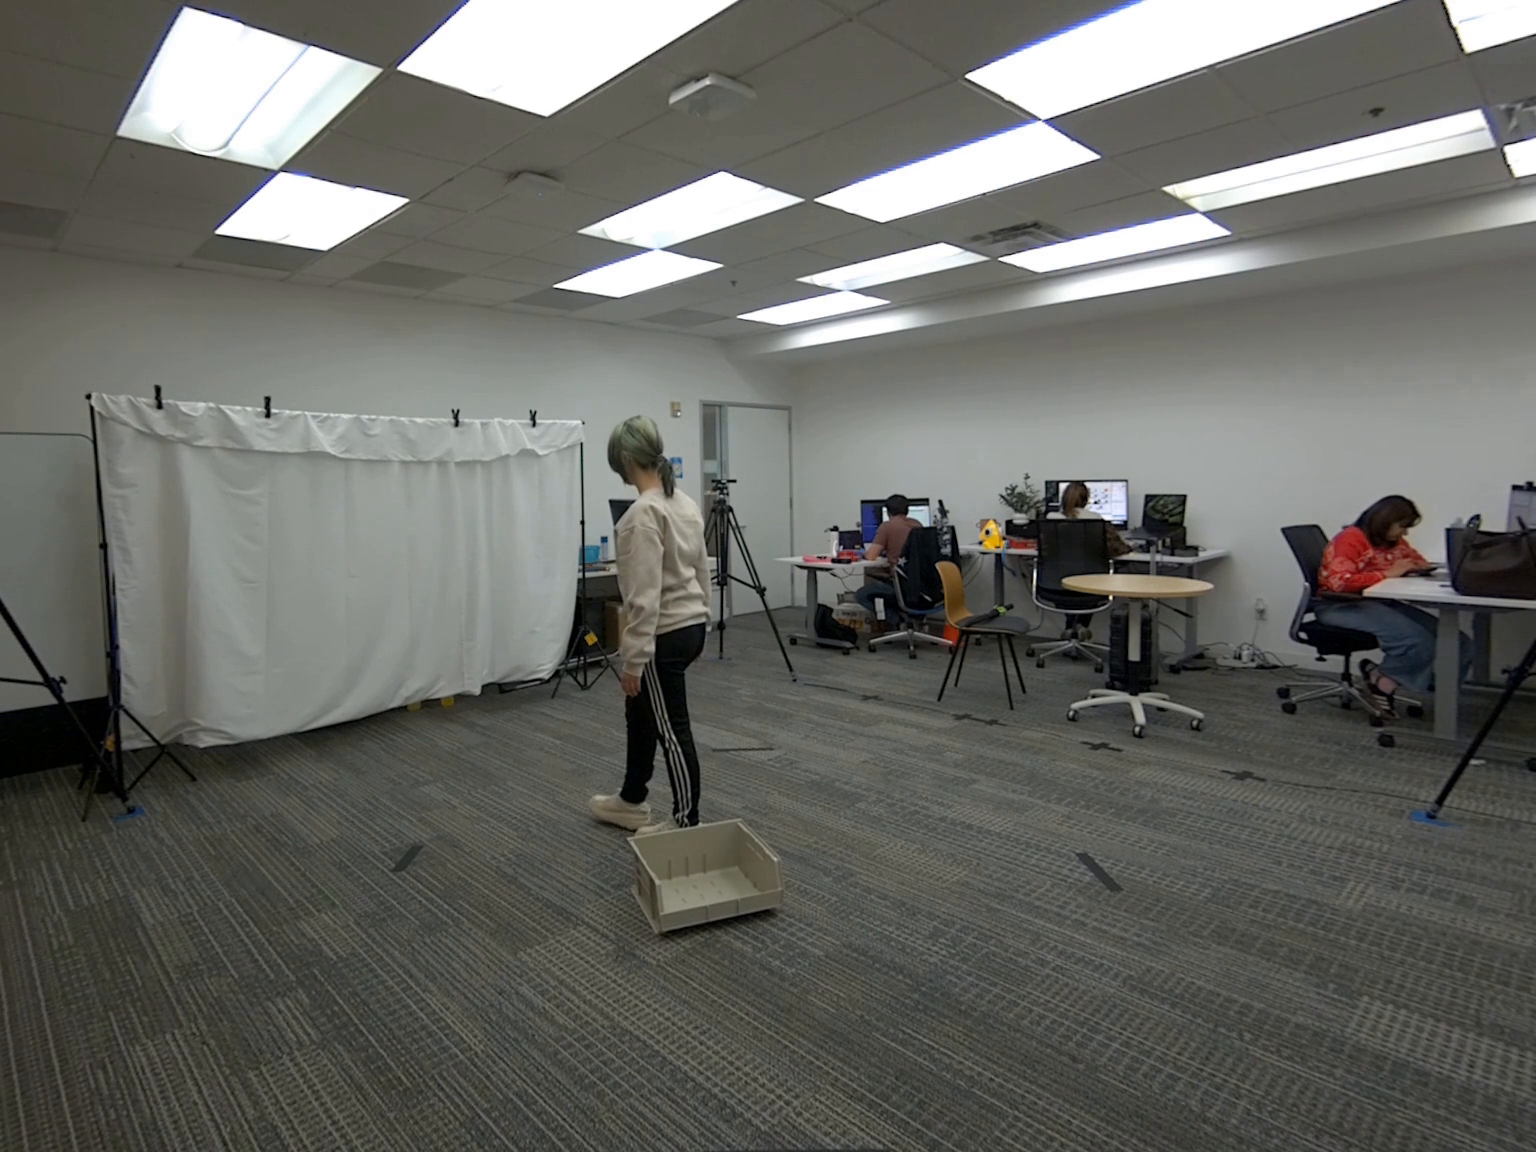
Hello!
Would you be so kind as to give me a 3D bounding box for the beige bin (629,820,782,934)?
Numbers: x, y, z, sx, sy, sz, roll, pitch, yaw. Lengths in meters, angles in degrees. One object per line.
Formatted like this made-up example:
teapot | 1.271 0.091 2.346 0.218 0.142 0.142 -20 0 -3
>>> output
beige bin | -0.208 0.995 2.823 0.414 0.188 0.386 -4 6 -22
